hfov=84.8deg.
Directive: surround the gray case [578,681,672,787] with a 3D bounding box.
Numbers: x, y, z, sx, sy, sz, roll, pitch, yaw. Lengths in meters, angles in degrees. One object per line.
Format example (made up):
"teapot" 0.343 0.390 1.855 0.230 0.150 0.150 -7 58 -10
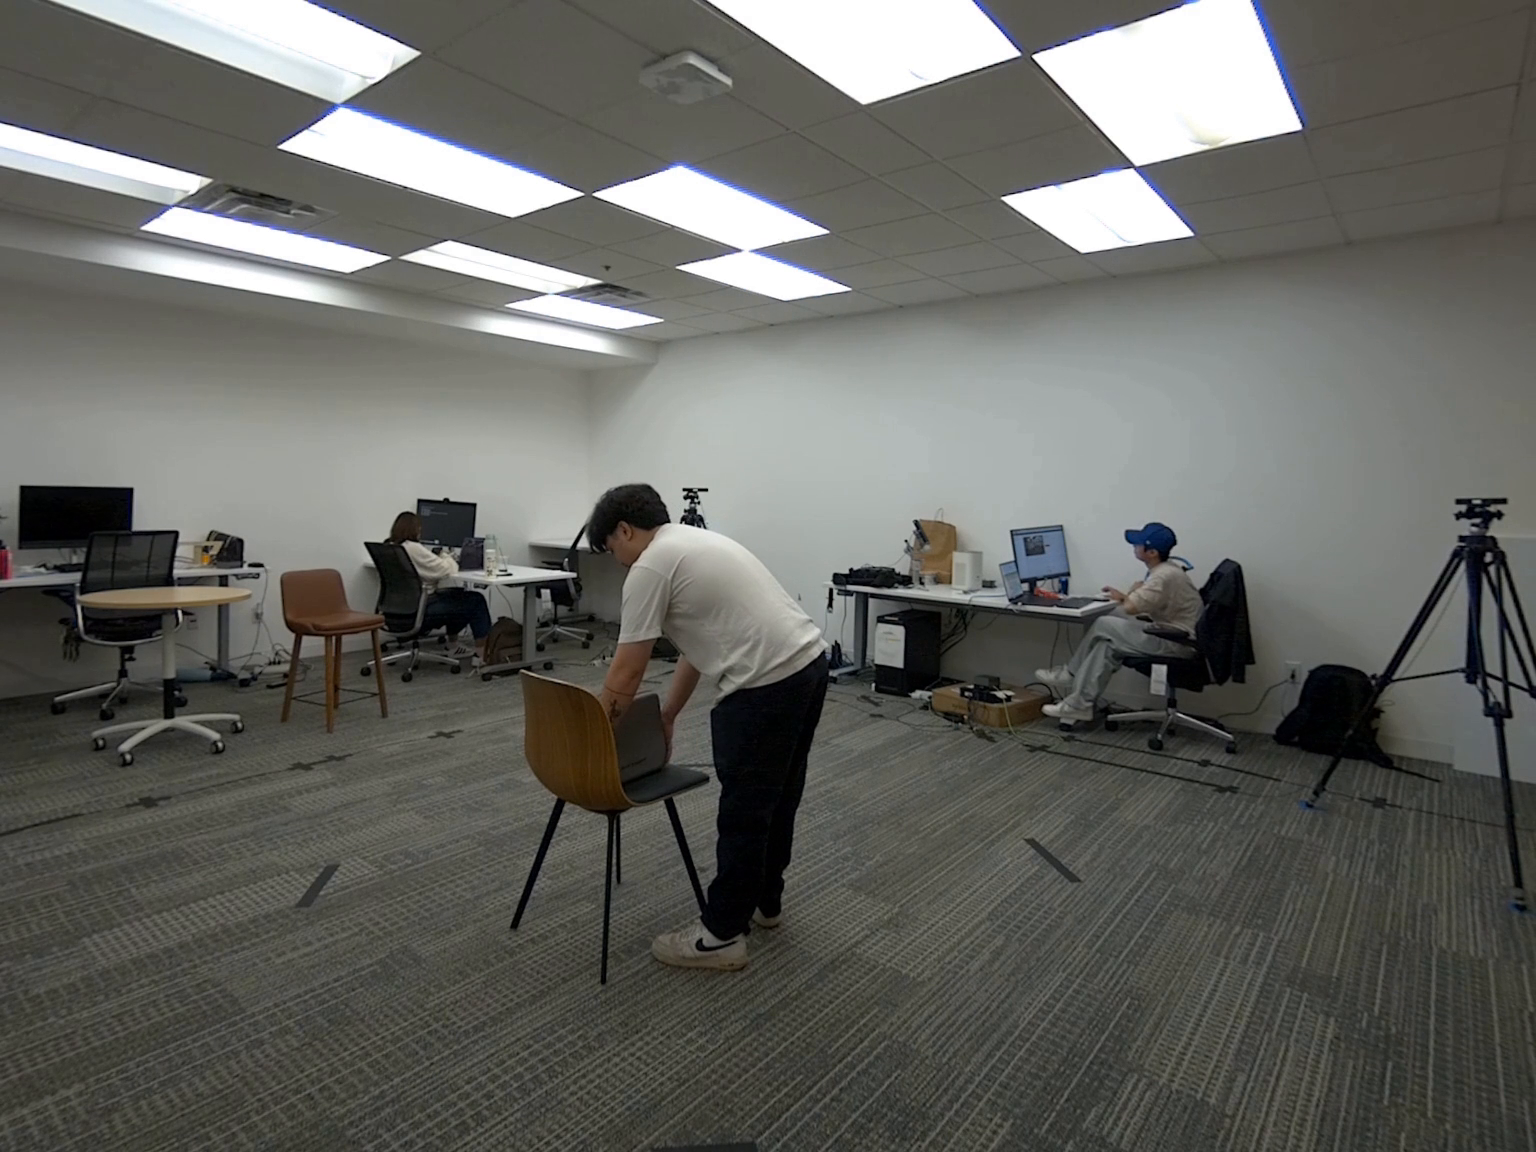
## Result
"gray case" -0.456 0.496 2.686 0.107 0.261 0.250 -8 1 43
